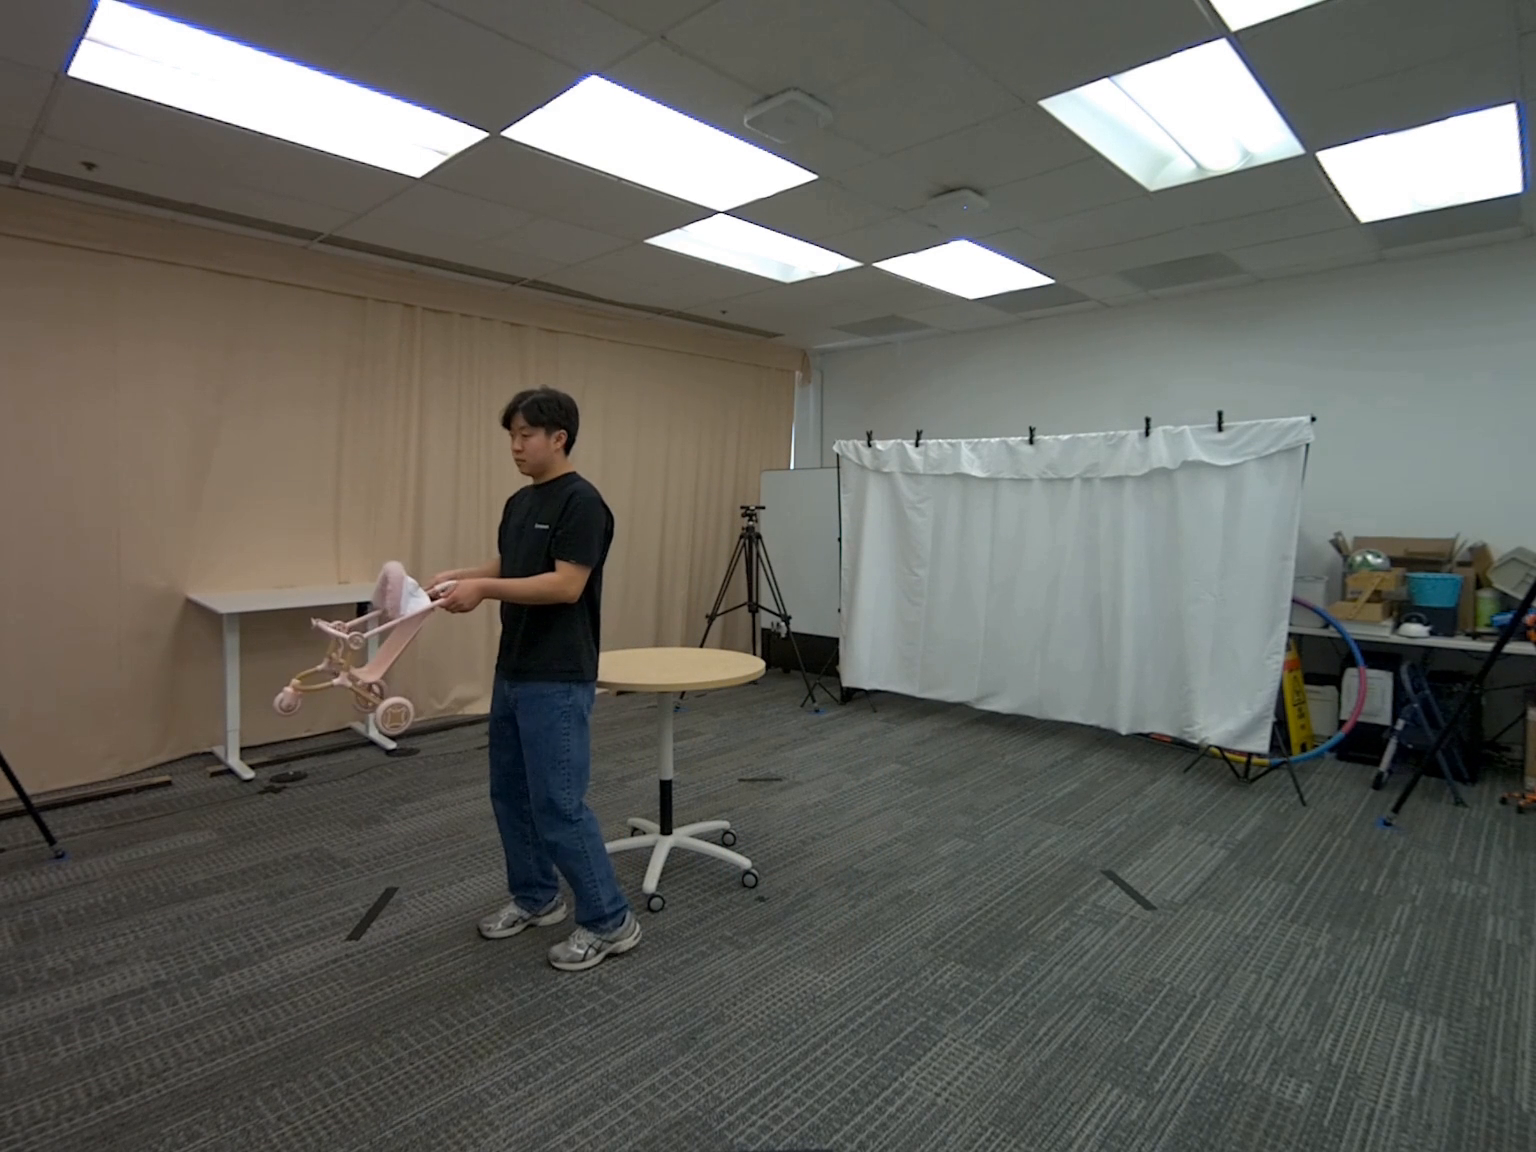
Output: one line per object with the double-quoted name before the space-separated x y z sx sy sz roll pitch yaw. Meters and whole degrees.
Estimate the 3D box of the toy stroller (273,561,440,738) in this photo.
"toy stroller" -1.121 0.192 2.420 0.330 0.536 0.290 30 -12 -32
